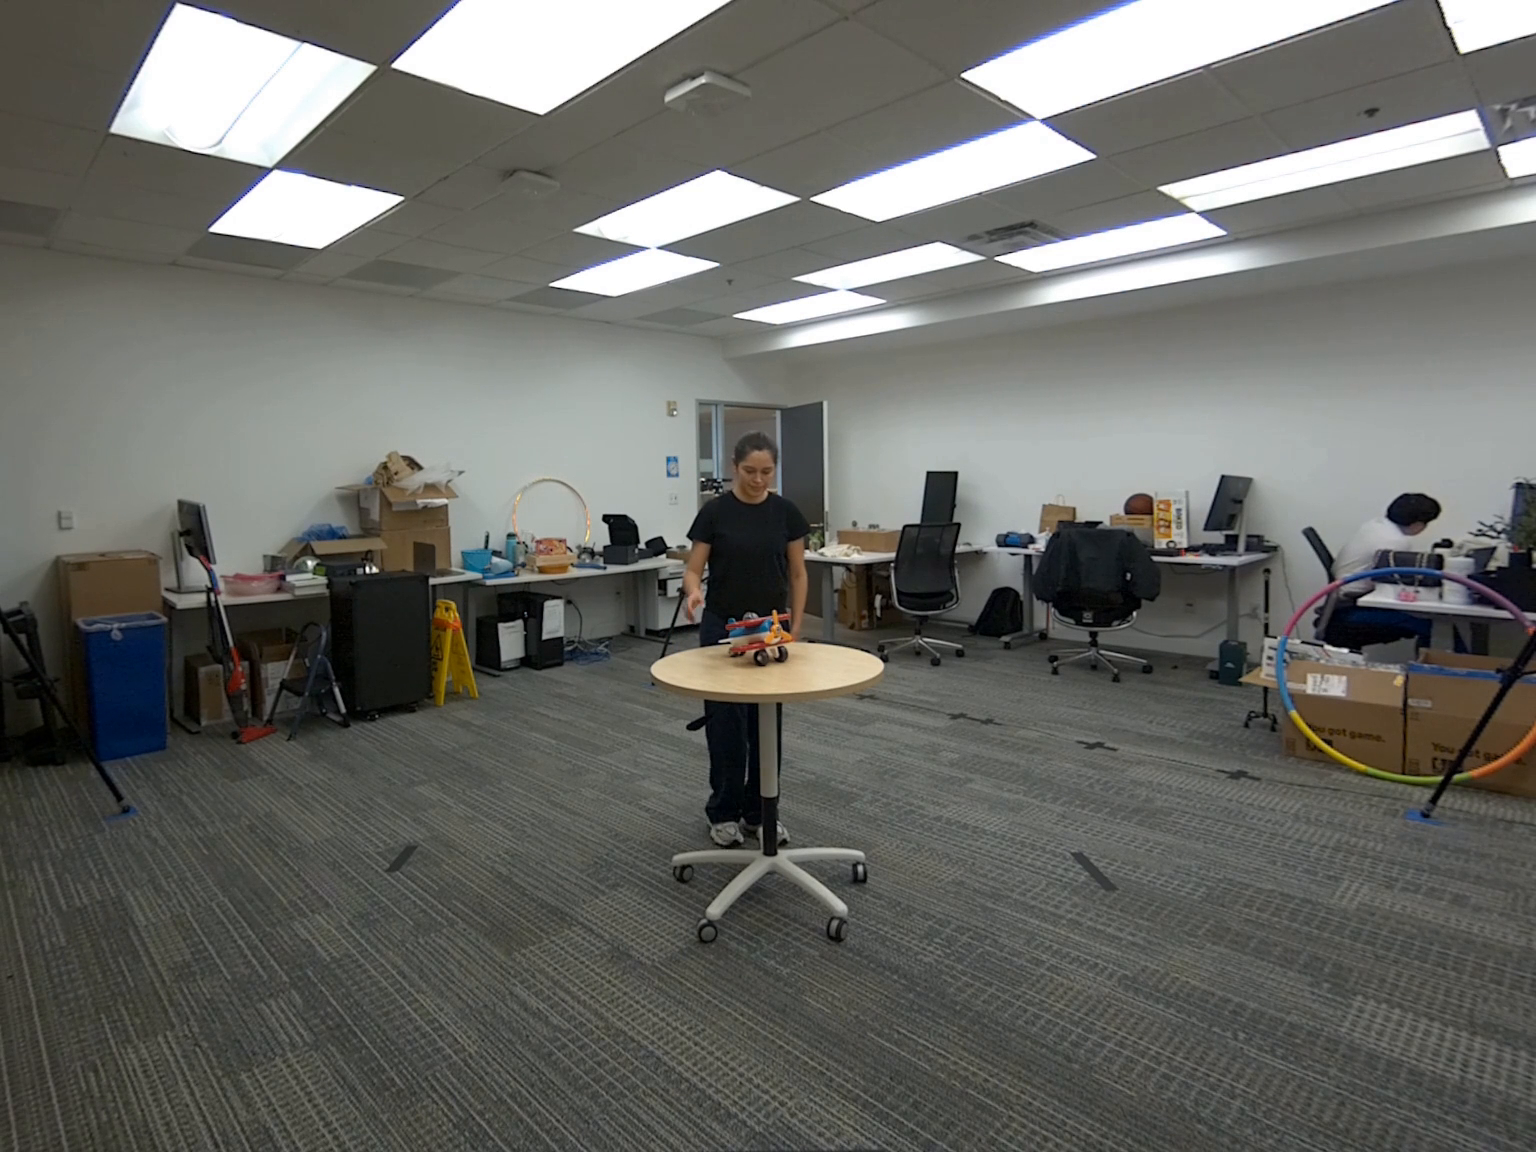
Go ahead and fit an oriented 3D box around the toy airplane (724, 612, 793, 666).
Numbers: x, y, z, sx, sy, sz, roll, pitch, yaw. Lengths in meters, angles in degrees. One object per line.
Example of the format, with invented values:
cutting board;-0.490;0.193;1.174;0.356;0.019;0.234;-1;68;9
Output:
toy airplane;-0.060;0.212;2.899;0.265;0.156;0.247;2;6;23
